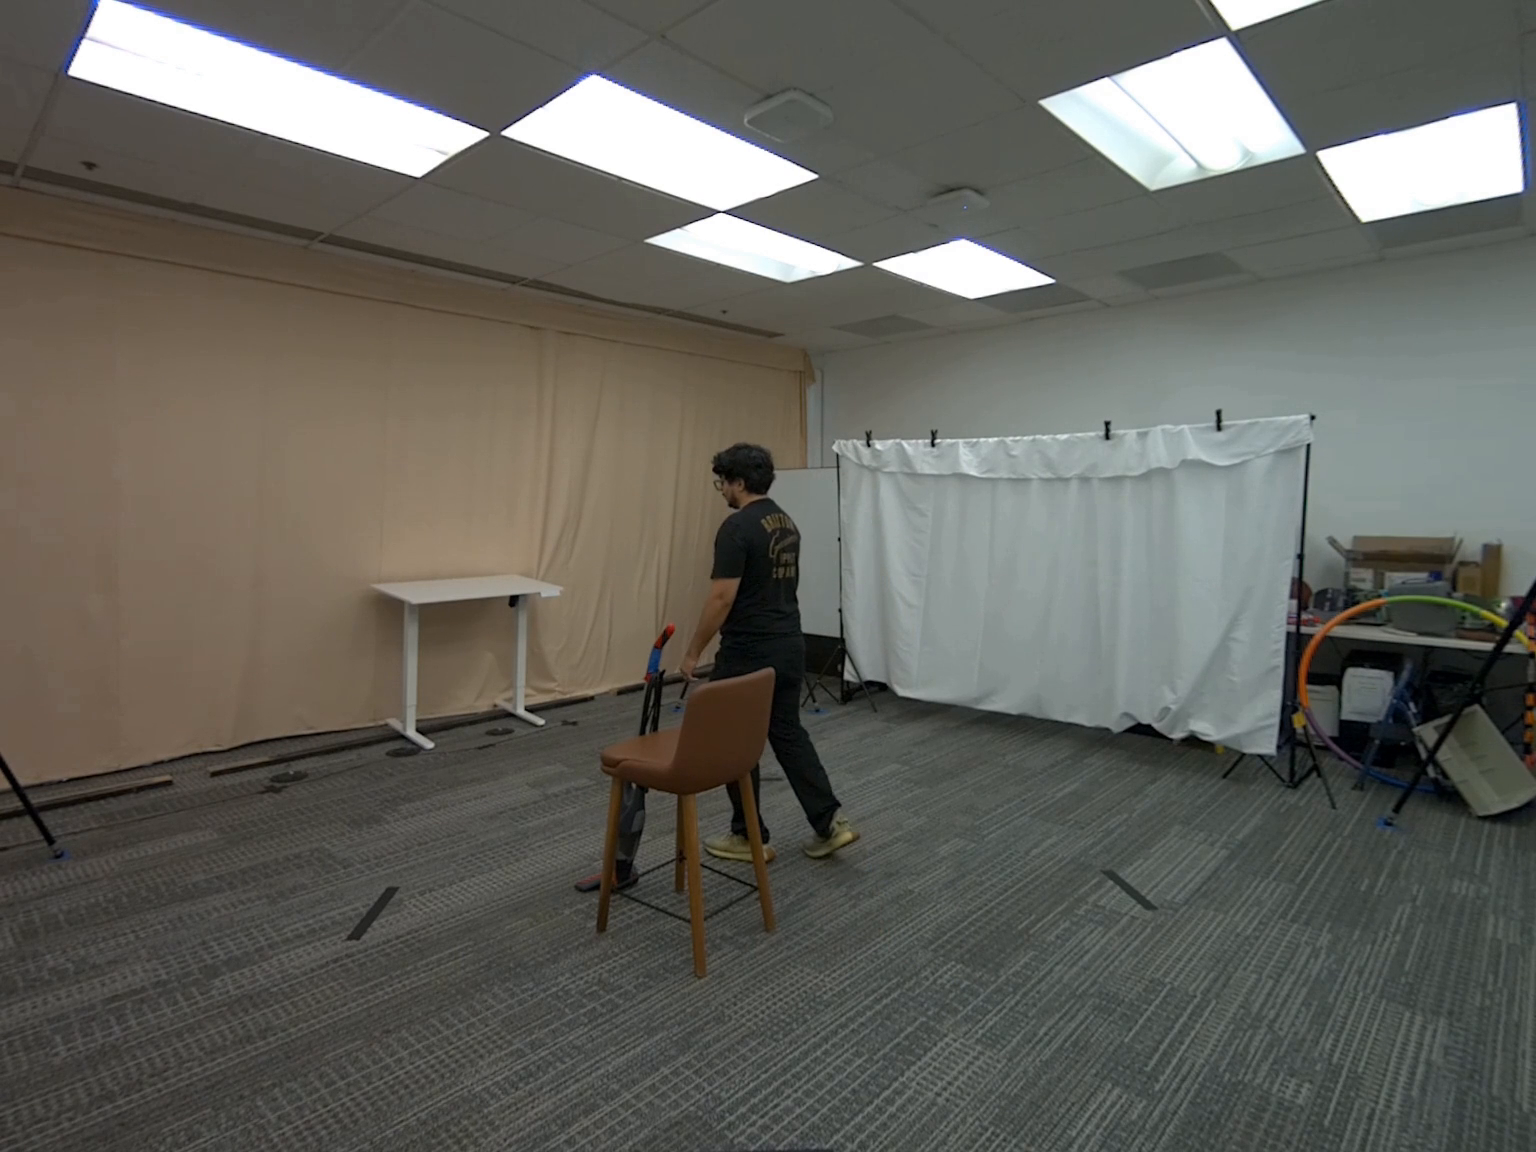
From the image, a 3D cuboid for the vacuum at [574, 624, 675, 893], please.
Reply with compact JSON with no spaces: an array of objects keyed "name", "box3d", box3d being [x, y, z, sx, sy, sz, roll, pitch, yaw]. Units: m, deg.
[{"name":"vacuum","box3d":[-0.454,0.658,2.959,0.149,1.043,0.245,27,20,34]}]
